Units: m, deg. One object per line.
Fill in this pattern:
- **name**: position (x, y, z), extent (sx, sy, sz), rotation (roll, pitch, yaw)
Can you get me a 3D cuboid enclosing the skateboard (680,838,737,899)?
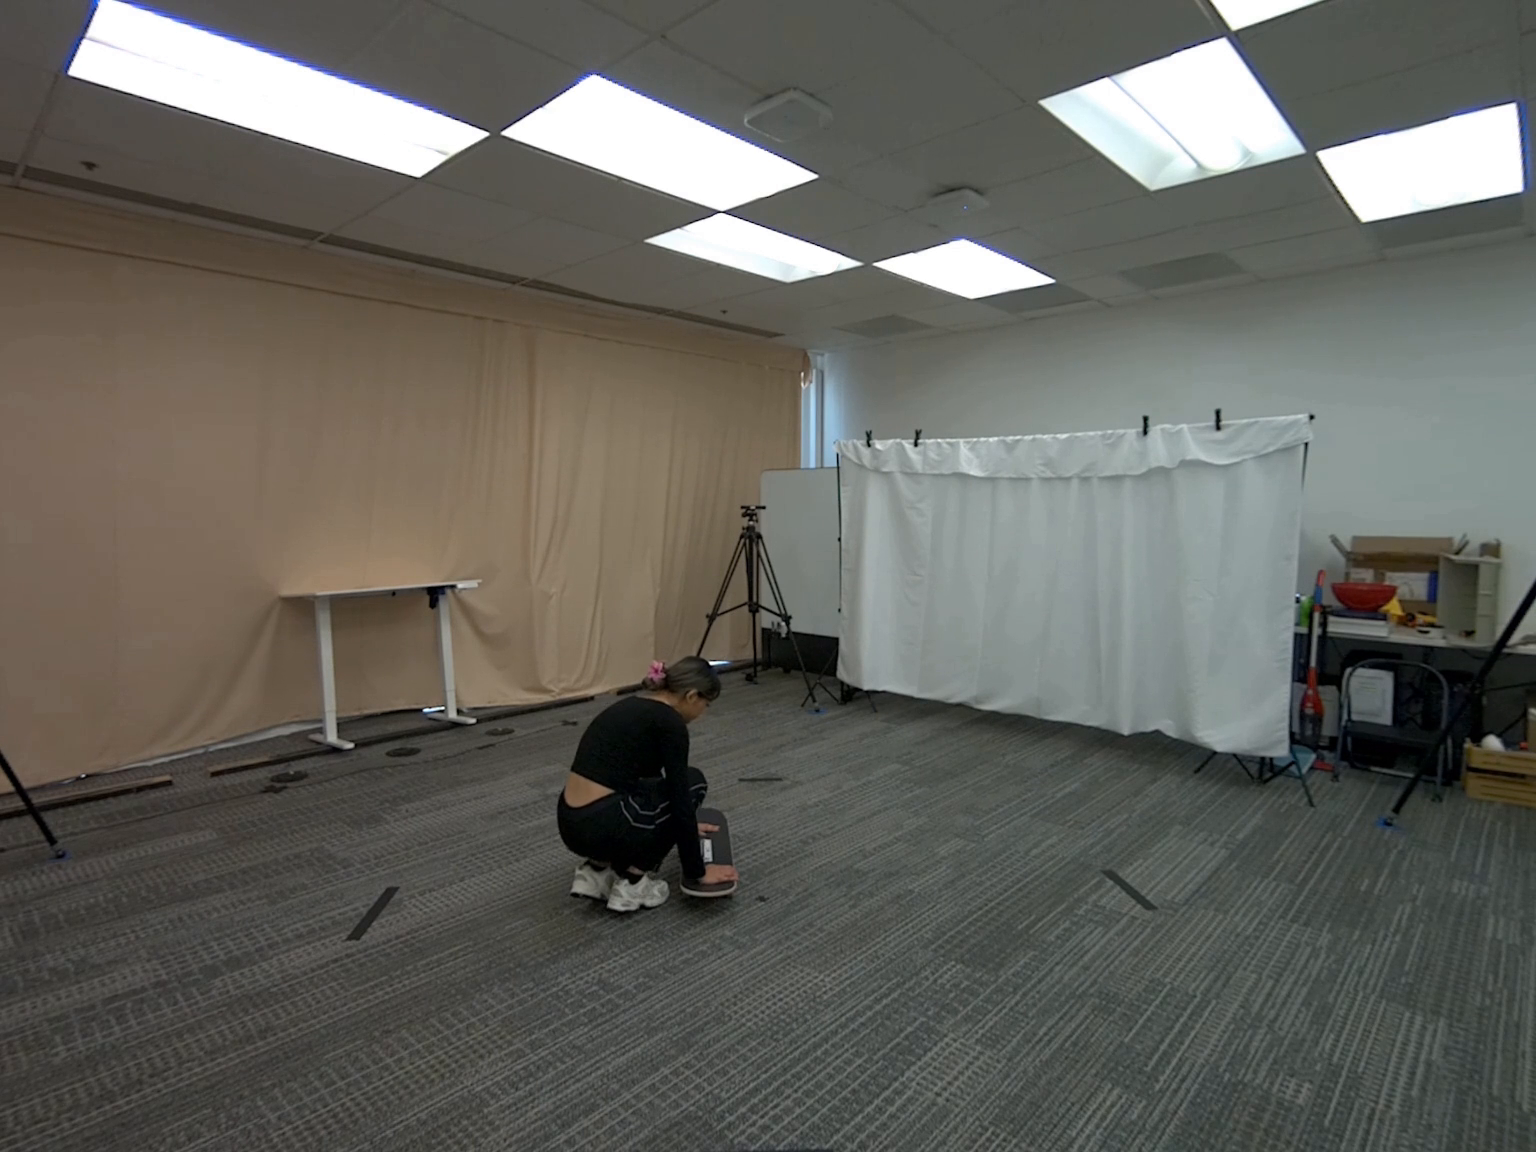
- **skateboard**: position (-0.229, 1.069, 3.189), extent (0.193, 0.110, 0.790), rotation (0, 5, -5)
